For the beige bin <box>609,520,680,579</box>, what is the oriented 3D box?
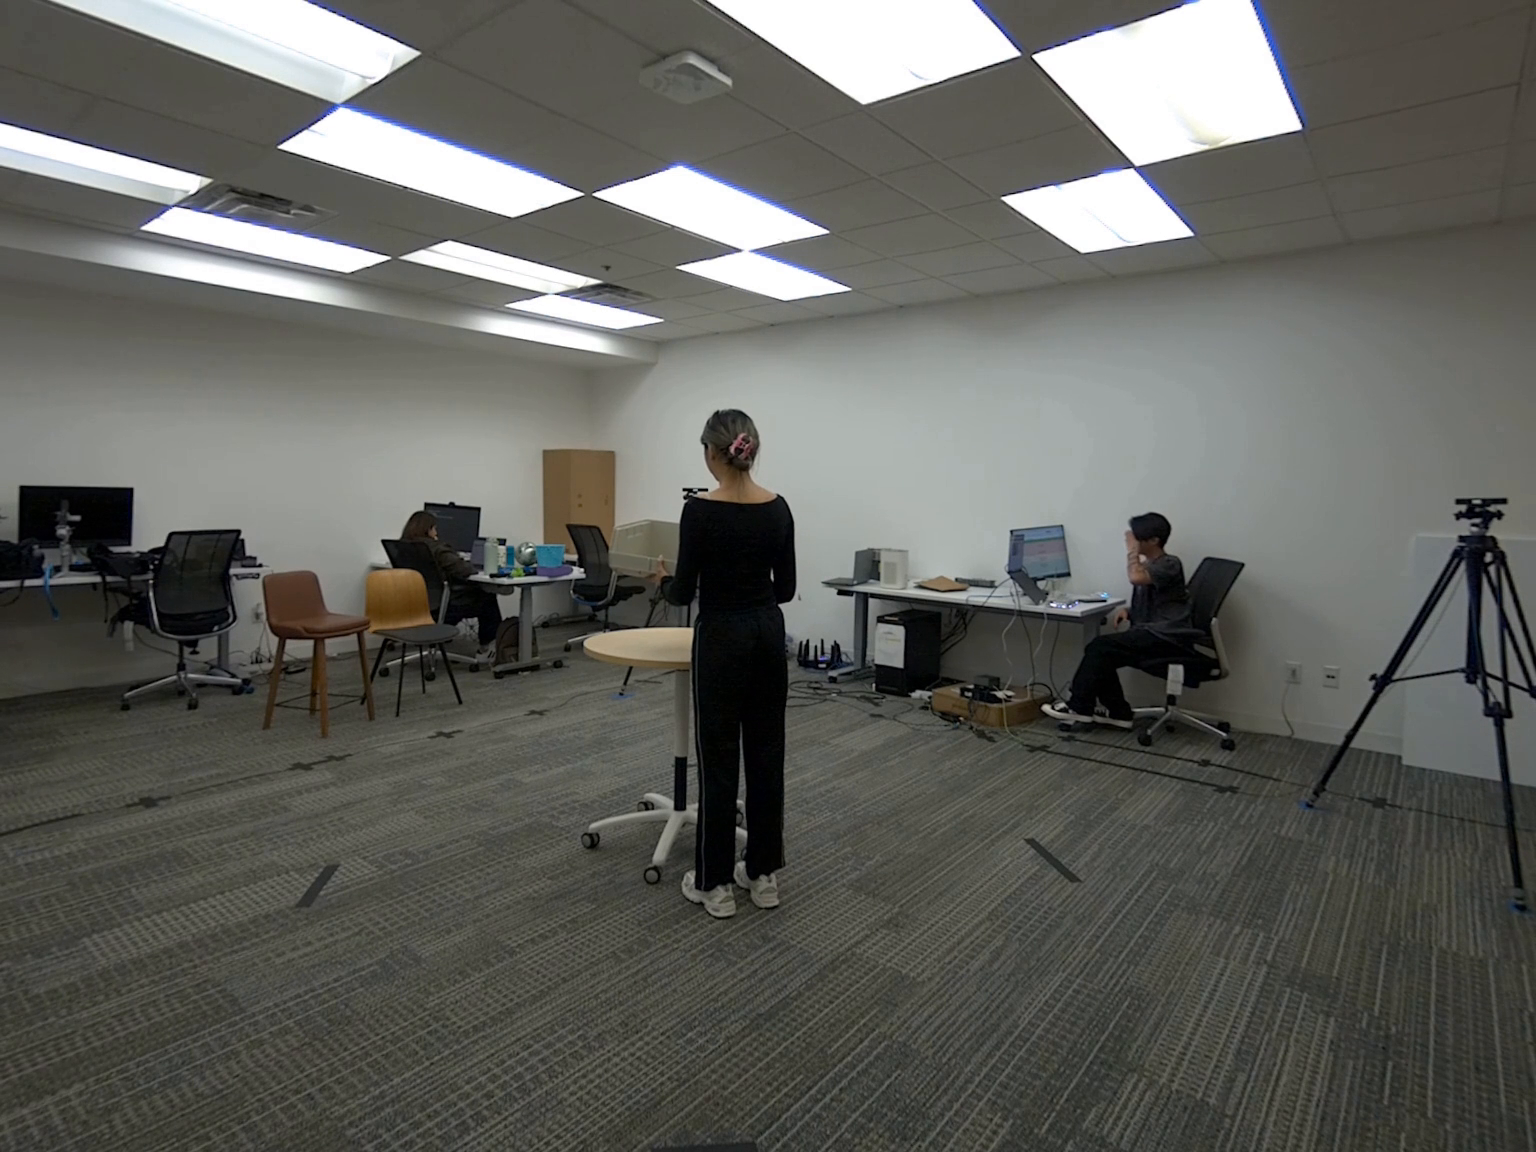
[{"bbox_3d":[-0.339,-0.085,3.180,0.429,0.187,0.374,7,10,13],"label":"beige bin"}]
